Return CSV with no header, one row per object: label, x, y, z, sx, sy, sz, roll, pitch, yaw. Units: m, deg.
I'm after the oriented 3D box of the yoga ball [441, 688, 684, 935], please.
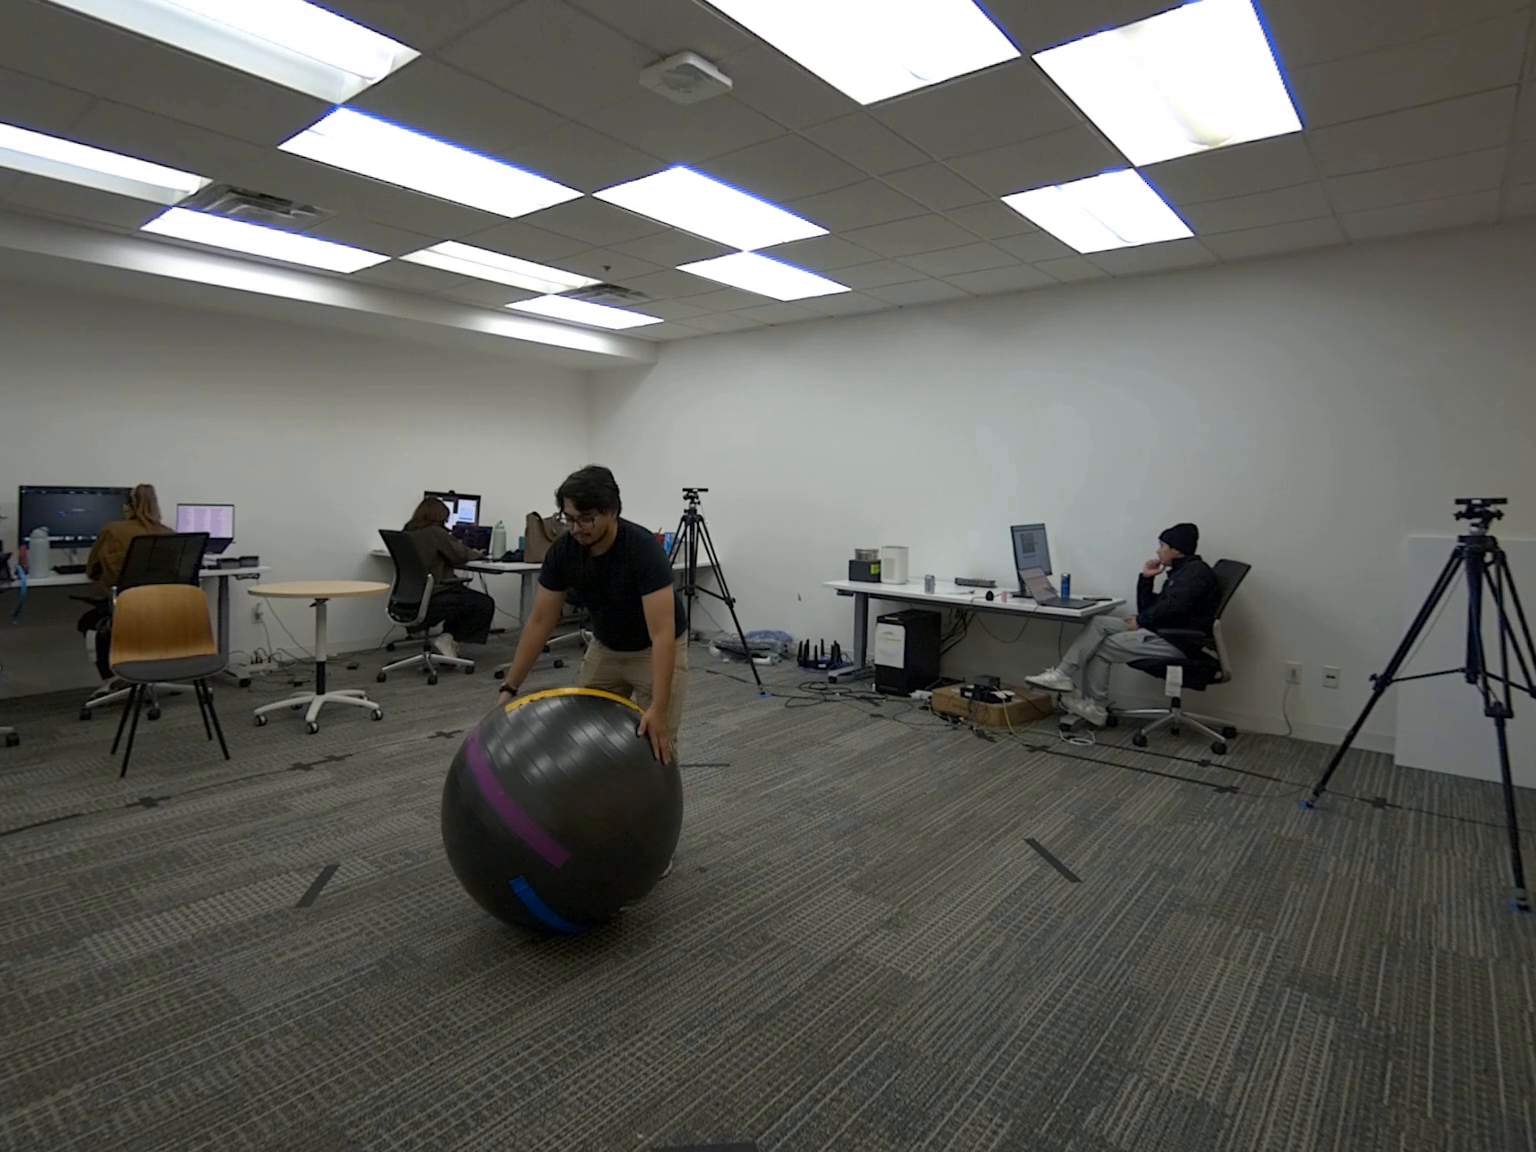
yoga ball,-0.654,0.730,2.709,0.757,0.755,0.762,1,4,-2
